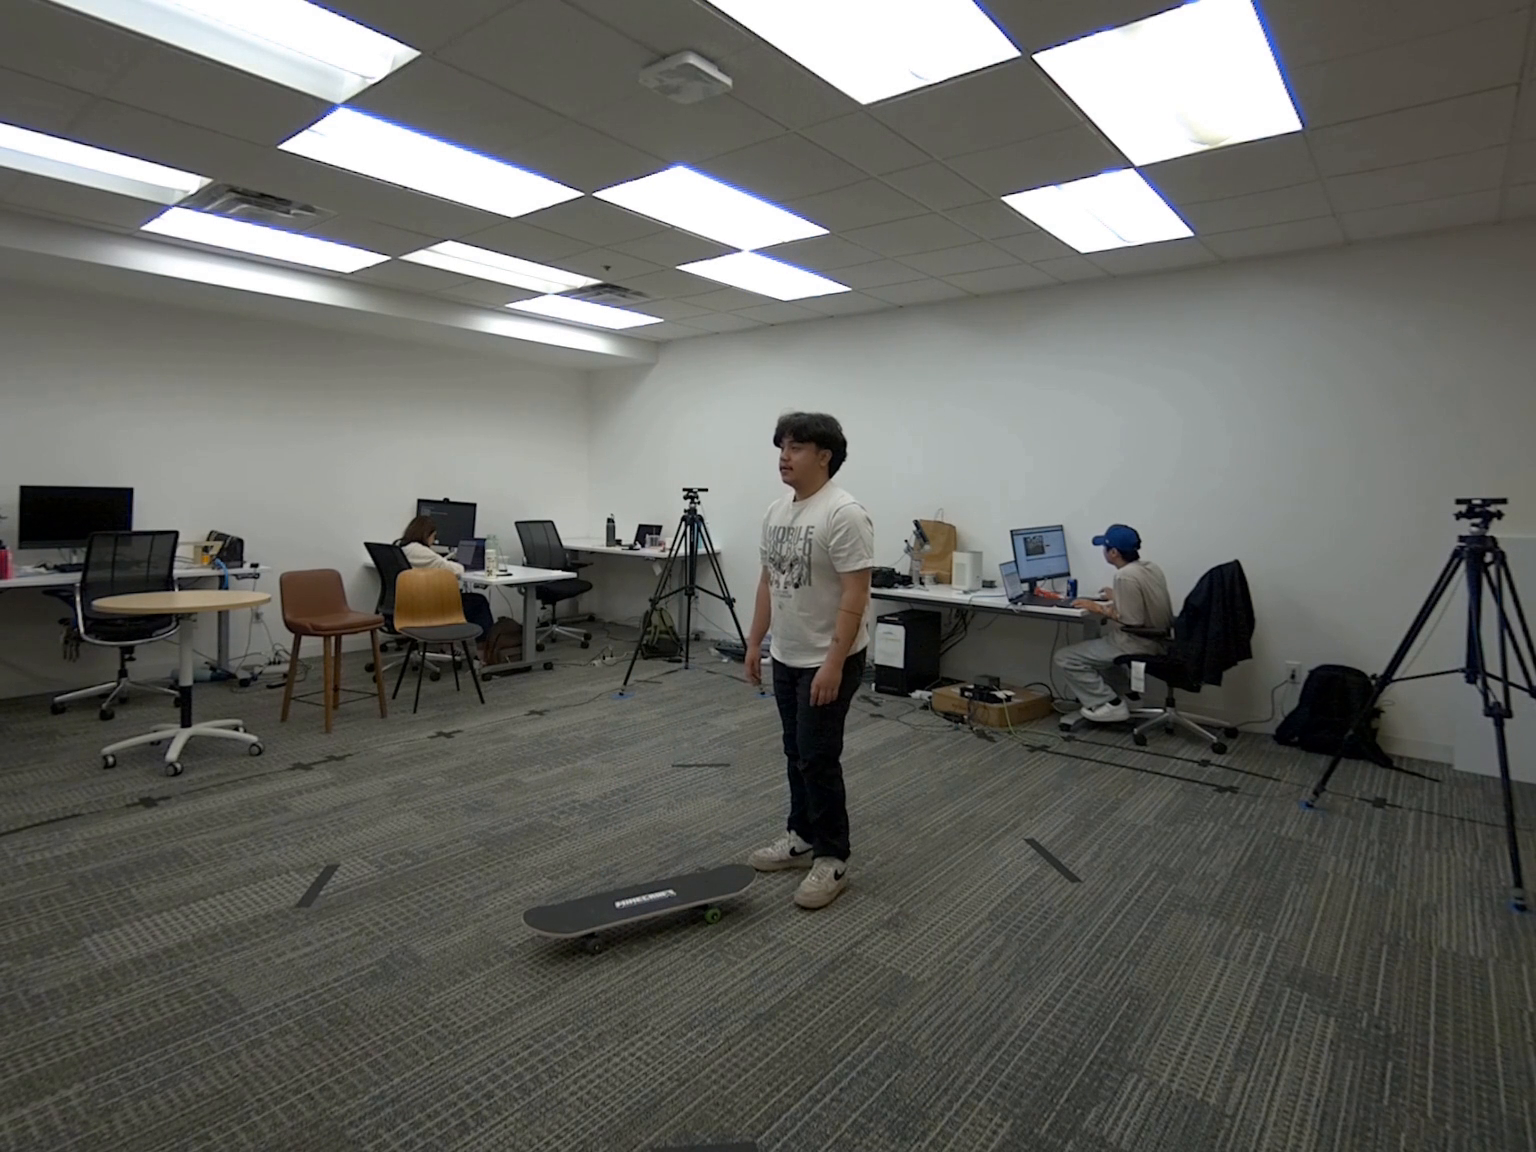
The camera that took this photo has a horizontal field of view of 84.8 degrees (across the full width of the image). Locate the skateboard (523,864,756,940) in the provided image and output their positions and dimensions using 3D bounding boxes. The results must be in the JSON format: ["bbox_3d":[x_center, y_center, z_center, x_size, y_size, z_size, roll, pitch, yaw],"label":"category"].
[{"bbox_3d":[-0.392,1.051,2.695,0.765,0.110,0.199,-2,6,-29],"label":"skateboard"}]
